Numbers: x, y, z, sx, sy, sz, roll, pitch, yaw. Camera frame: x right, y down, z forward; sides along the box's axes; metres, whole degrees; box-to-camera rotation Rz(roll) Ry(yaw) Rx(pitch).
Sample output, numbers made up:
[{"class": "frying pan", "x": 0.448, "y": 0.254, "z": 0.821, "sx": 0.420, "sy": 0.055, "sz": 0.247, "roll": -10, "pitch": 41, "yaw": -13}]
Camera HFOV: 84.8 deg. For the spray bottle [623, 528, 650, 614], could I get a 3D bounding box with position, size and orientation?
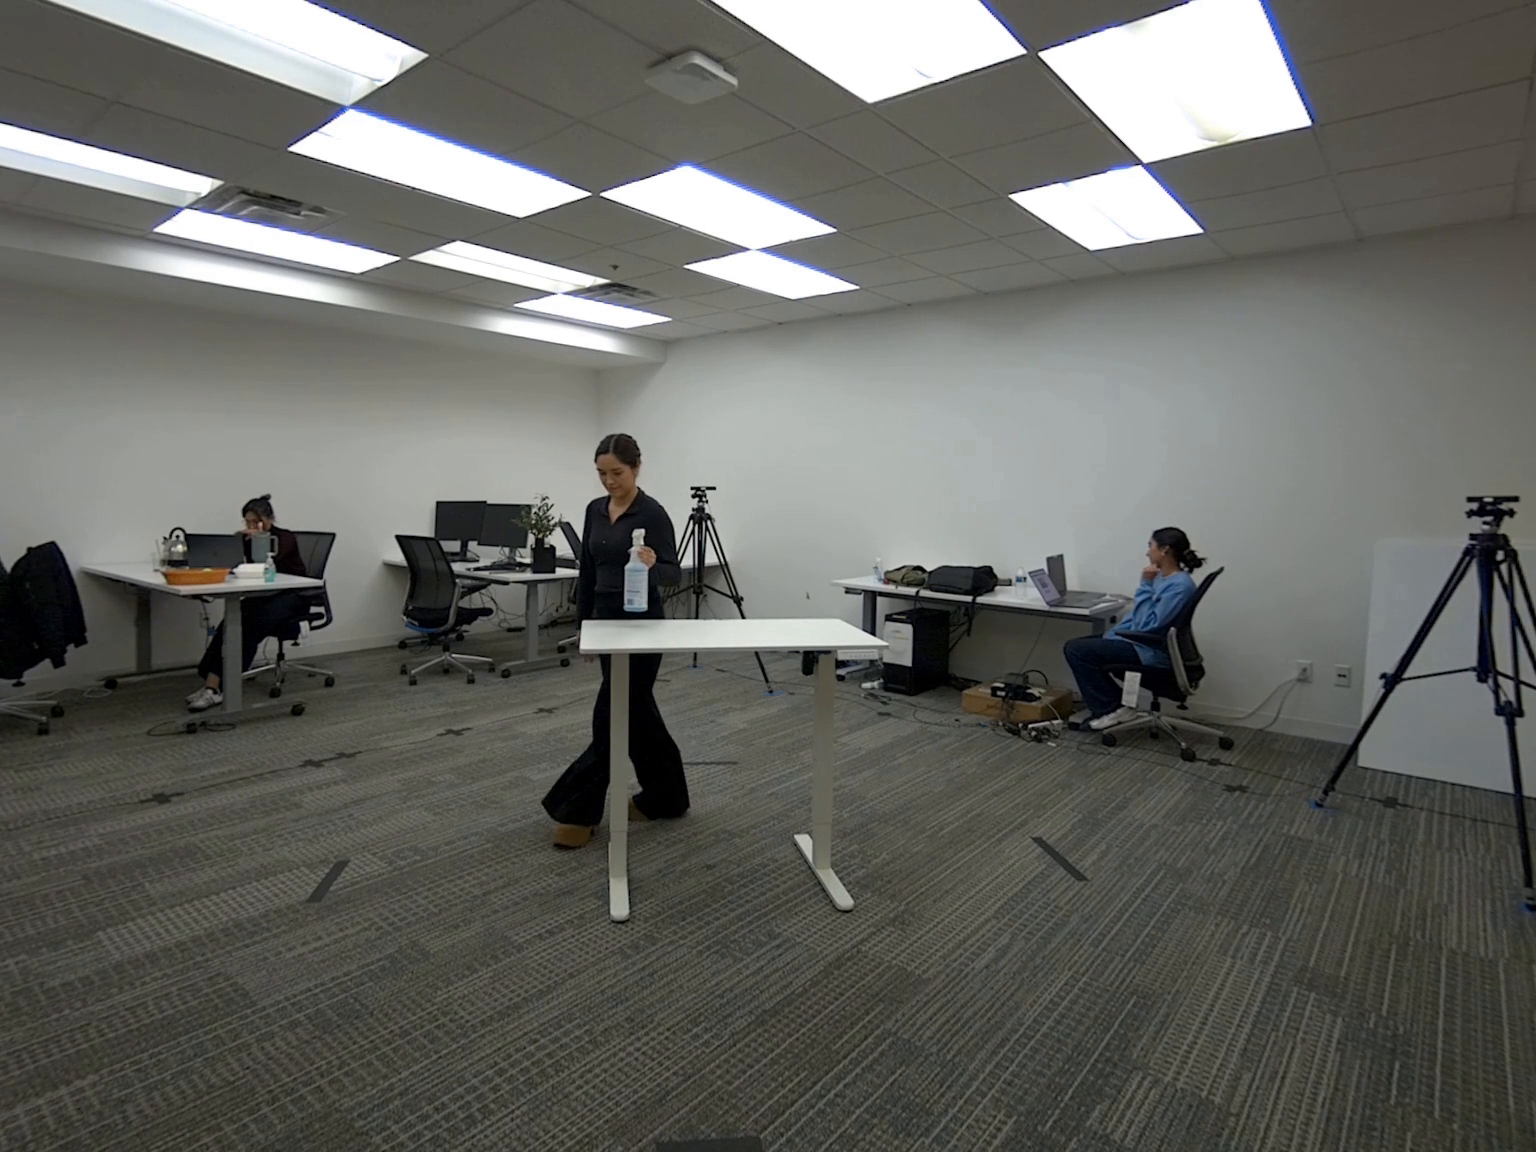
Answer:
[{"class": "spray bottle", "x": -0.498, "y": -0.025, "z": 3.088, "sx": 0.087, "sy": 0.296, "sz": 0.090, "roll": 3, "pitch": 3, "yaw": -3}]
